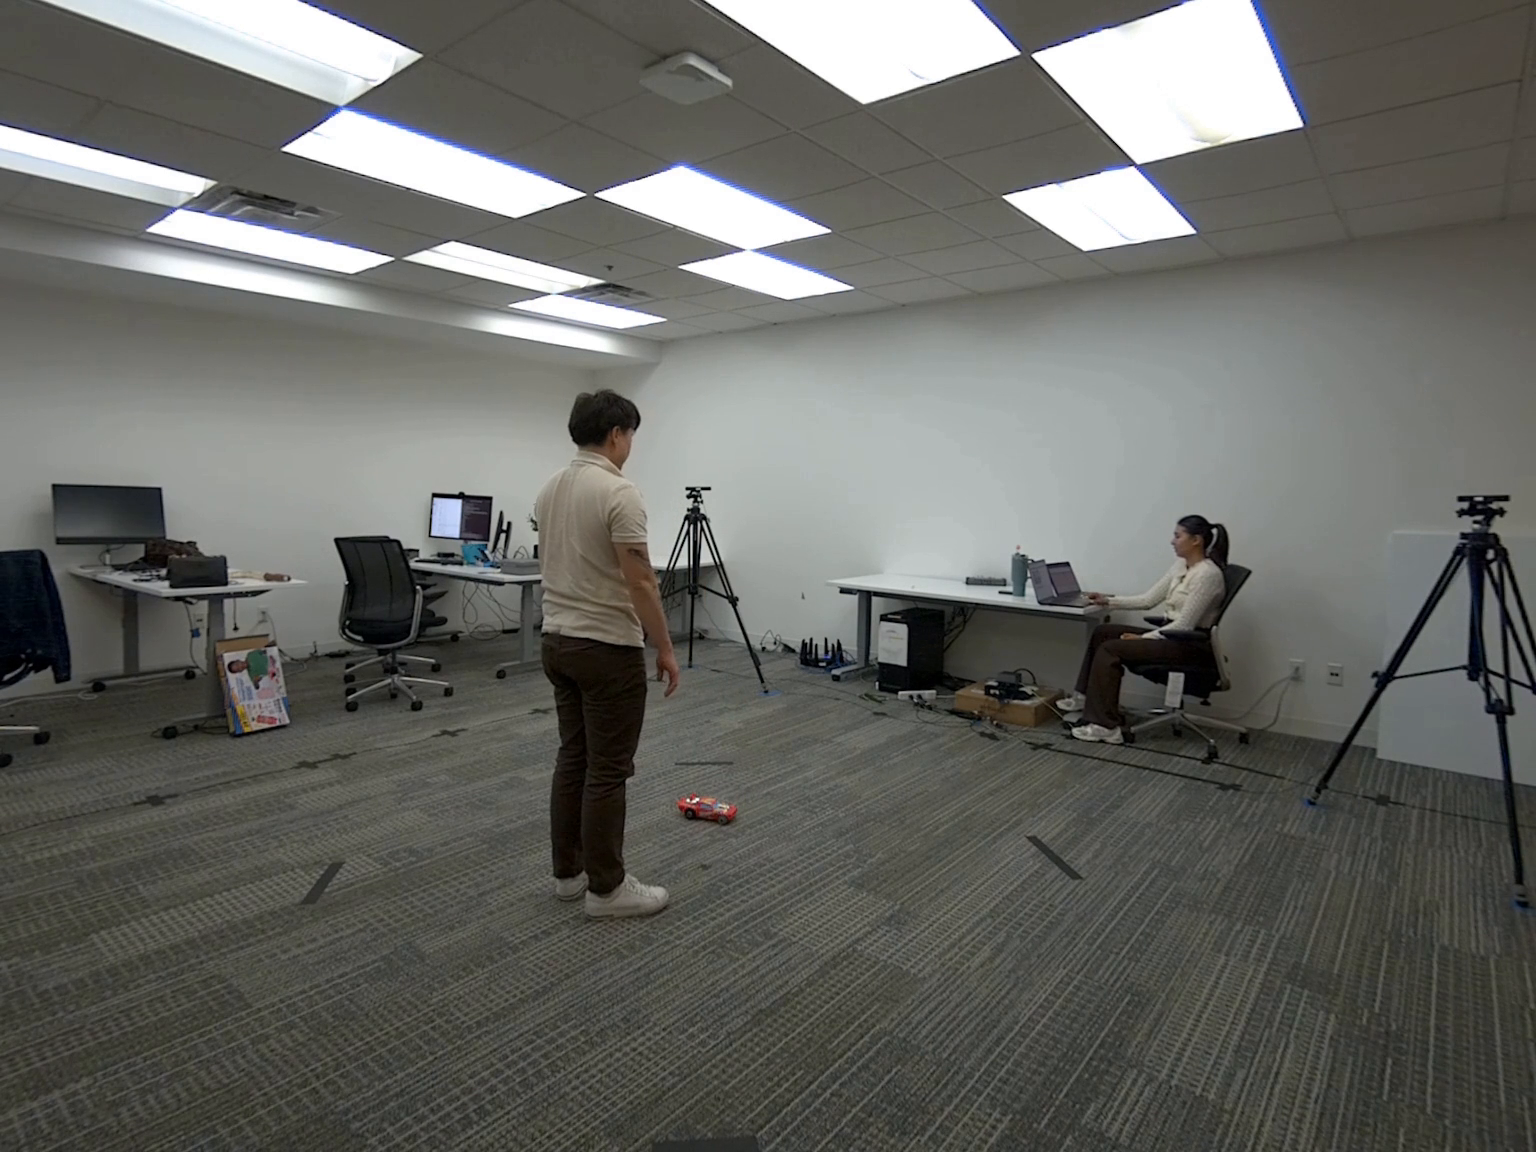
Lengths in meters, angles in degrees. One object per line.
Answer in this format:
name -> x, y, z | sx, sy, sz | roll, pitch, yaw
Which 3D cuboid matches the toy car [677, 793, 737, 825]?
toy car -> -0.275, 0.984, 3.598 | 0.260, 0.083, 0.128 | 15, 9, 18
